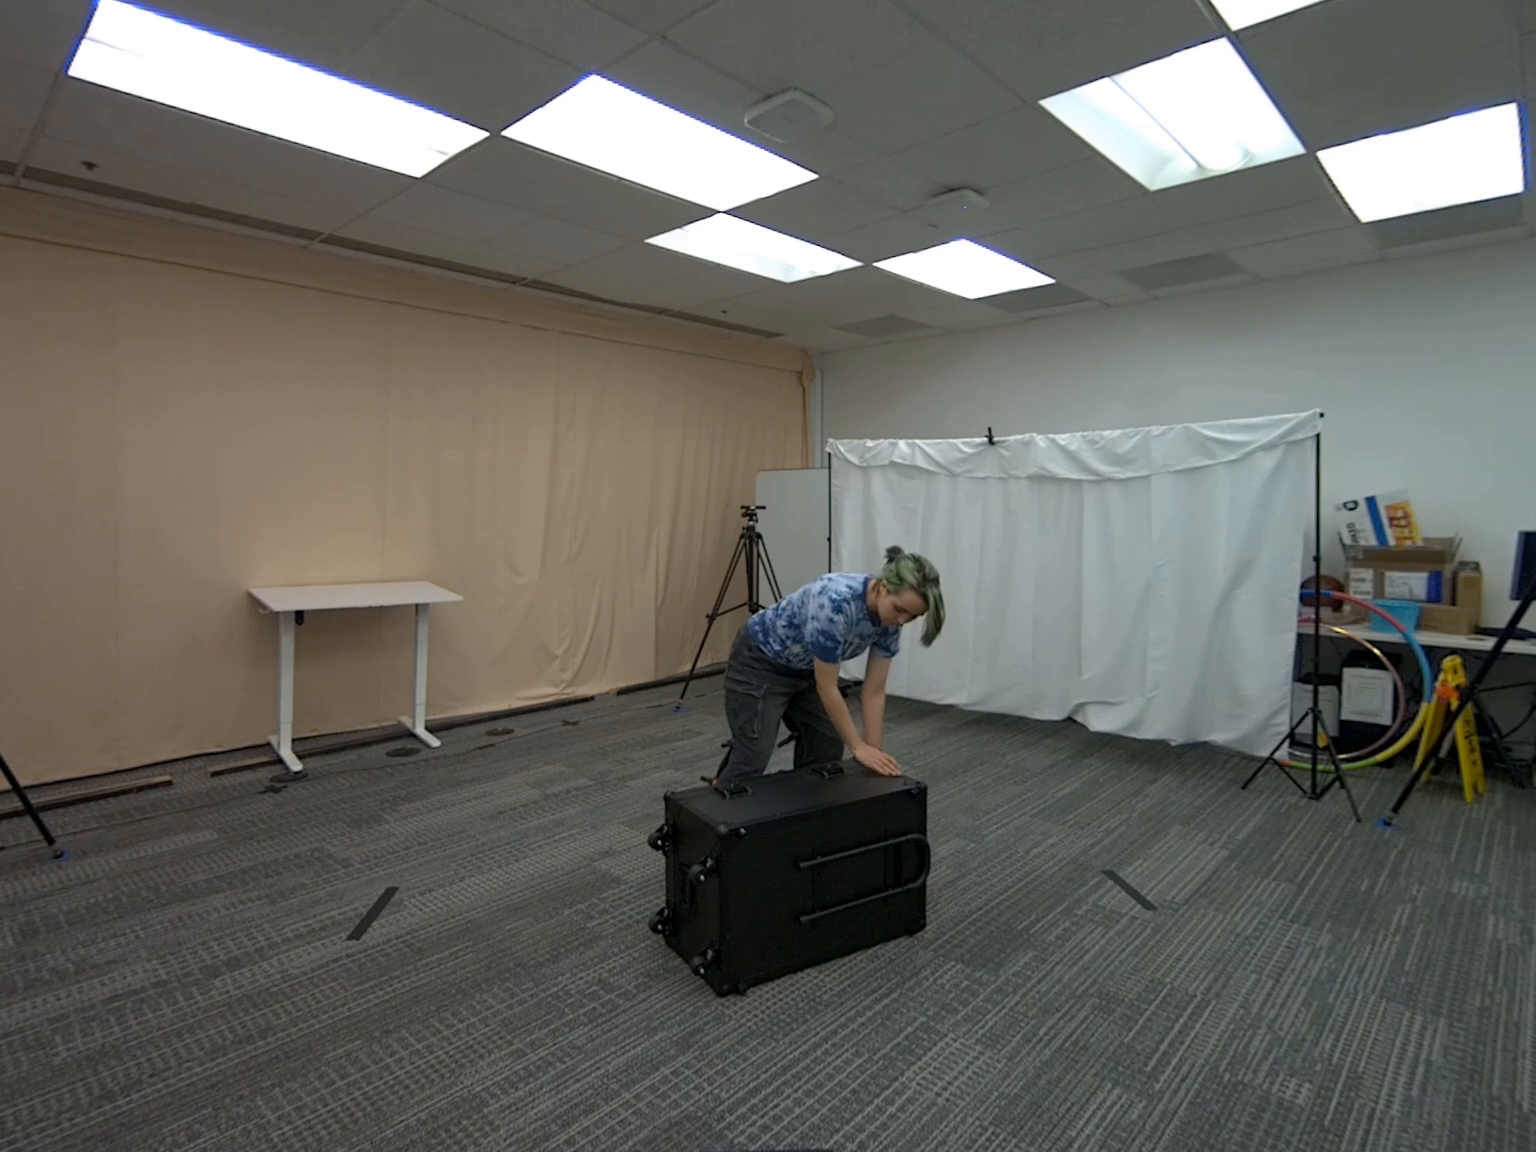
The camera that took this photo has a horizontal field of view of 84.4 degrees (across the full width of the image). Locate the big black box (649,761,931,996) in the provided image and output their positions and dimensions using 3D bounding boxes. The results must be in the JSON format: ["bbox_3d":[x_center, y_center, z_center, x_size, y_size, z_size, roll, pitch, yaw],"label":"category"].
[{"bbox_3d":[0.081,0.924,2.676,0.839,0.520,0.408,-2,4,-30],"label":"big black box"}]
